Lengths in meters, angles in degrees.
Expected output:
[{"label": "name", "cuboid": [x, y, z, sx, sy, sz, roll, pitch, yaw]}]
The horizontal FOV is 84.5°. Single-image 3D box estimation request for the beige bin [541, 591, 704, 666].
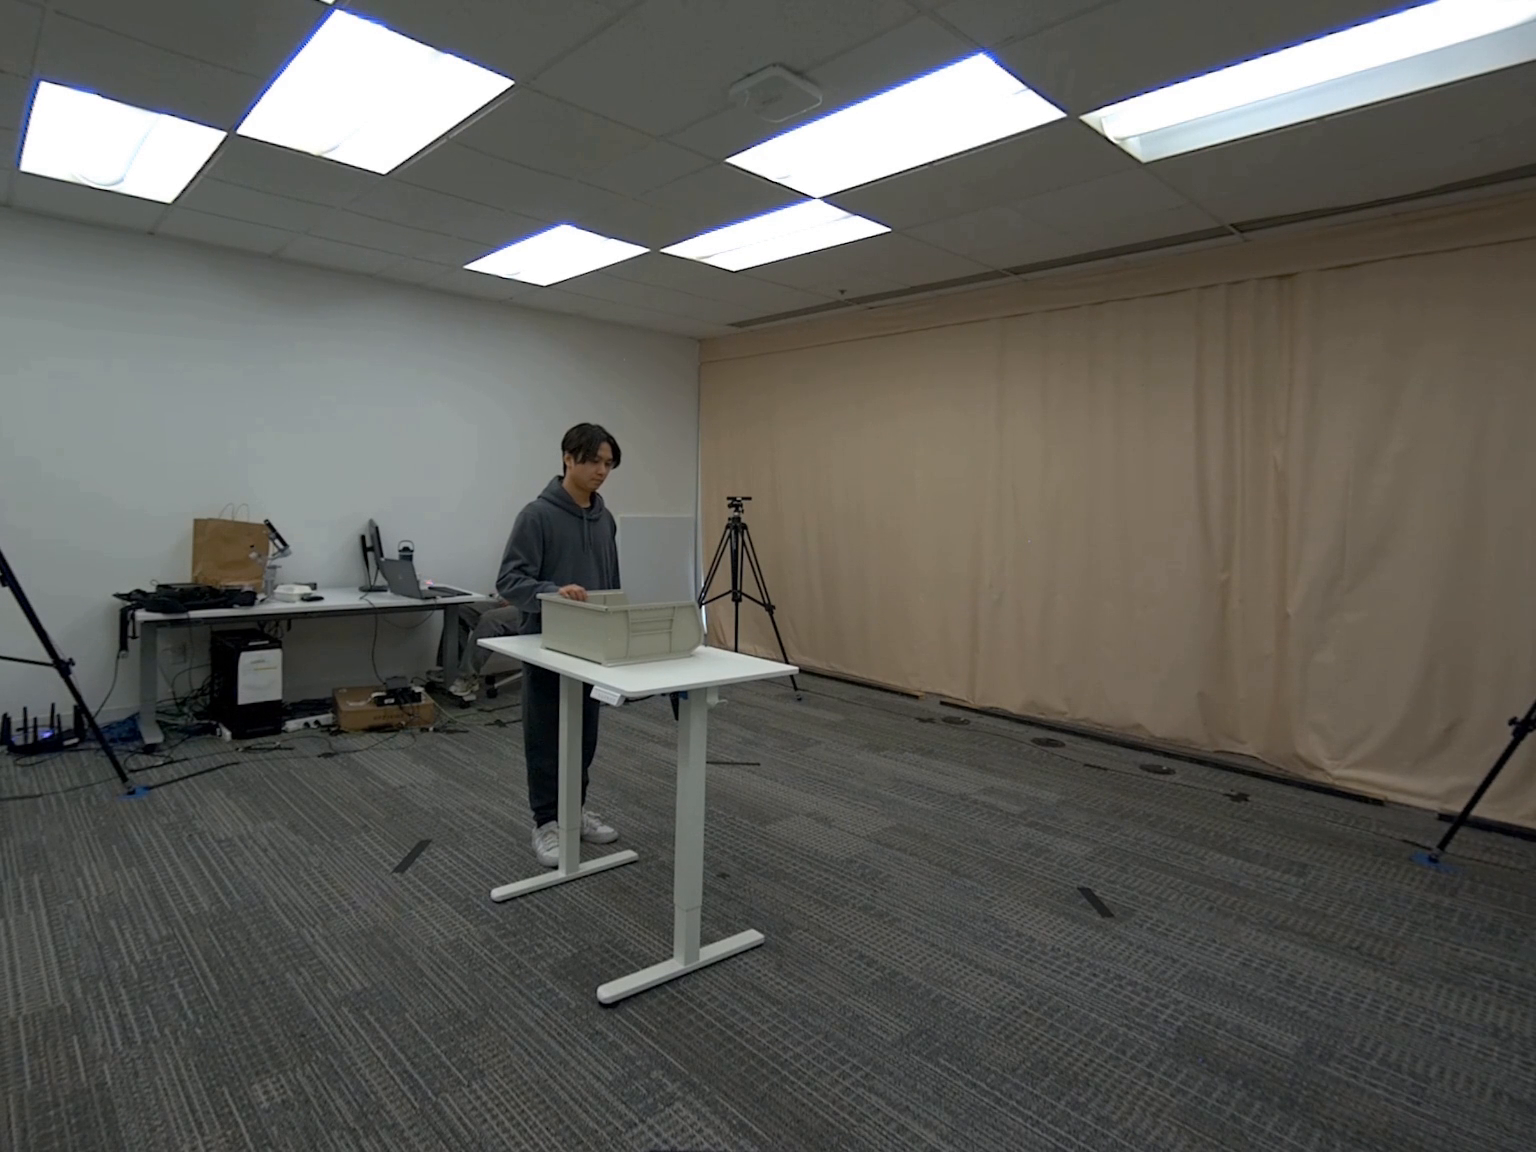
[{"label": "beige bin", "cuboid": [-0.487, 0.160, 2.731, 0.369, 0.188, 0.433, -4, 7, -42]}]
